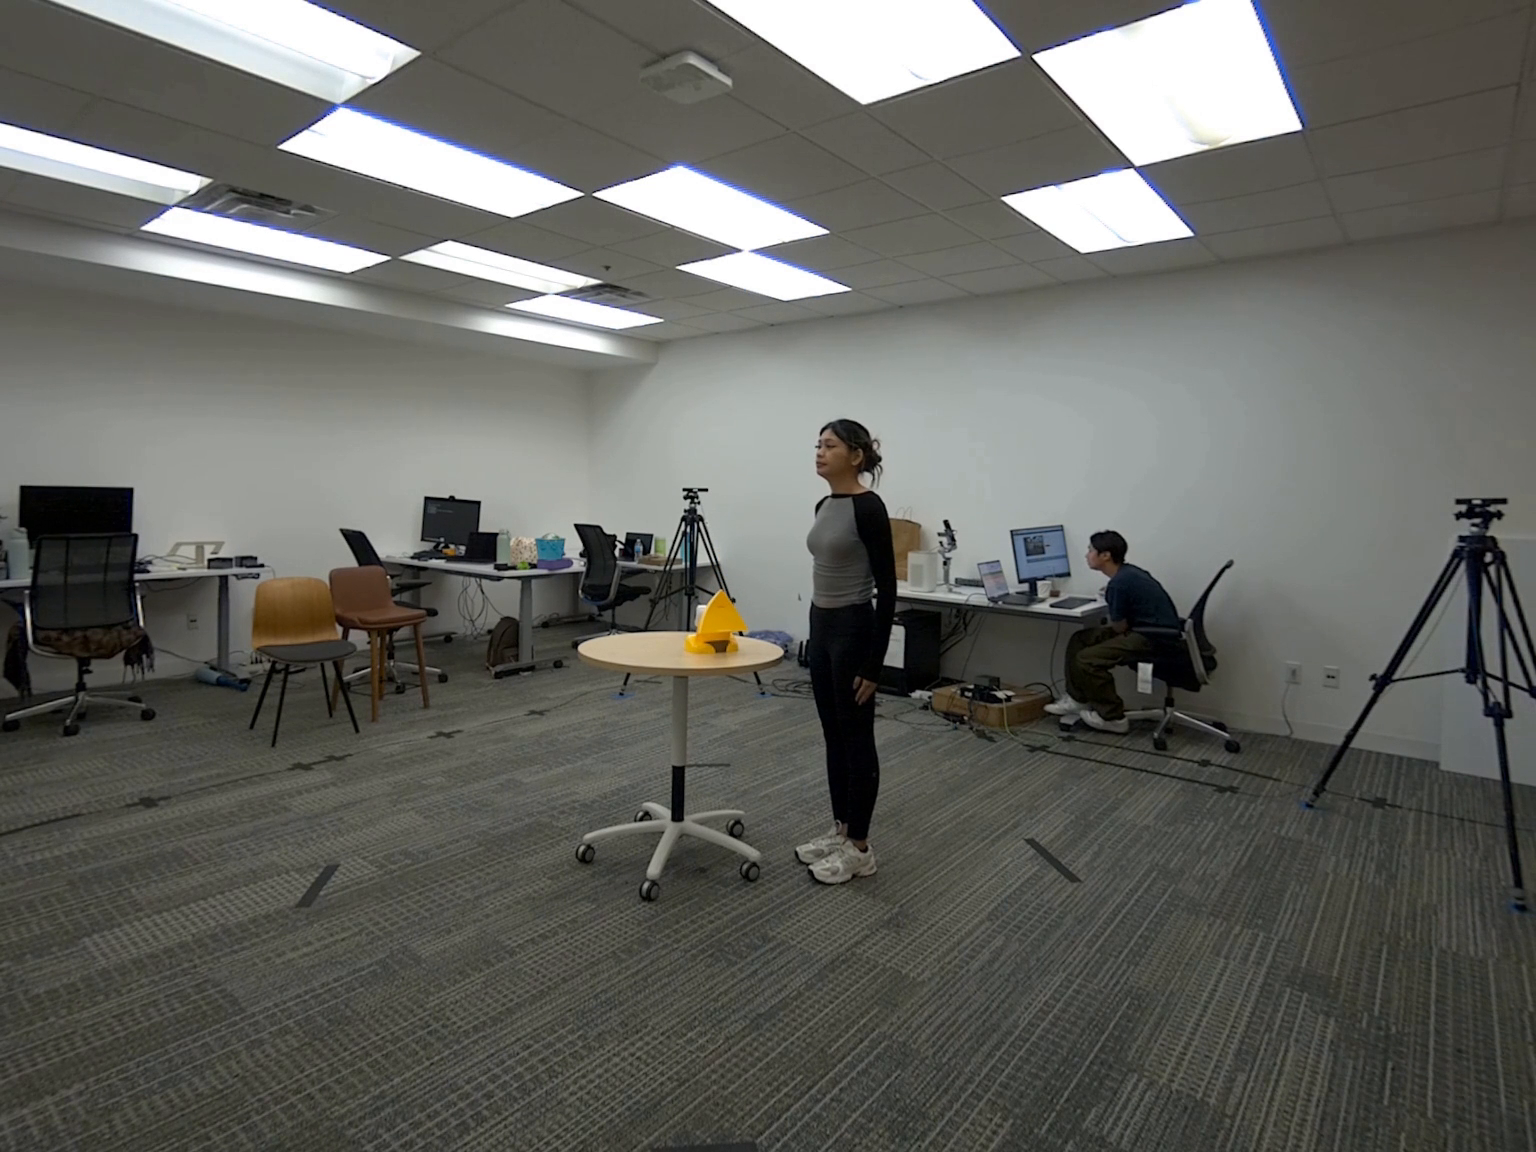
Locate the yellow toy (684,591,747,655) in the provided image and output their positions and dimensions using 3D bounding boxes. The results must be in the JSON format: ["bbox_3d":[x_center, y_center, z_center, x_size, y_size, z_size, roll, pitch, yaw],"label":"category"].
[{"bbox_3d":[-0.218,0.156,3.171,0.199,0.230,0.199,0,3,-32],"label":"yellow toy"}]
